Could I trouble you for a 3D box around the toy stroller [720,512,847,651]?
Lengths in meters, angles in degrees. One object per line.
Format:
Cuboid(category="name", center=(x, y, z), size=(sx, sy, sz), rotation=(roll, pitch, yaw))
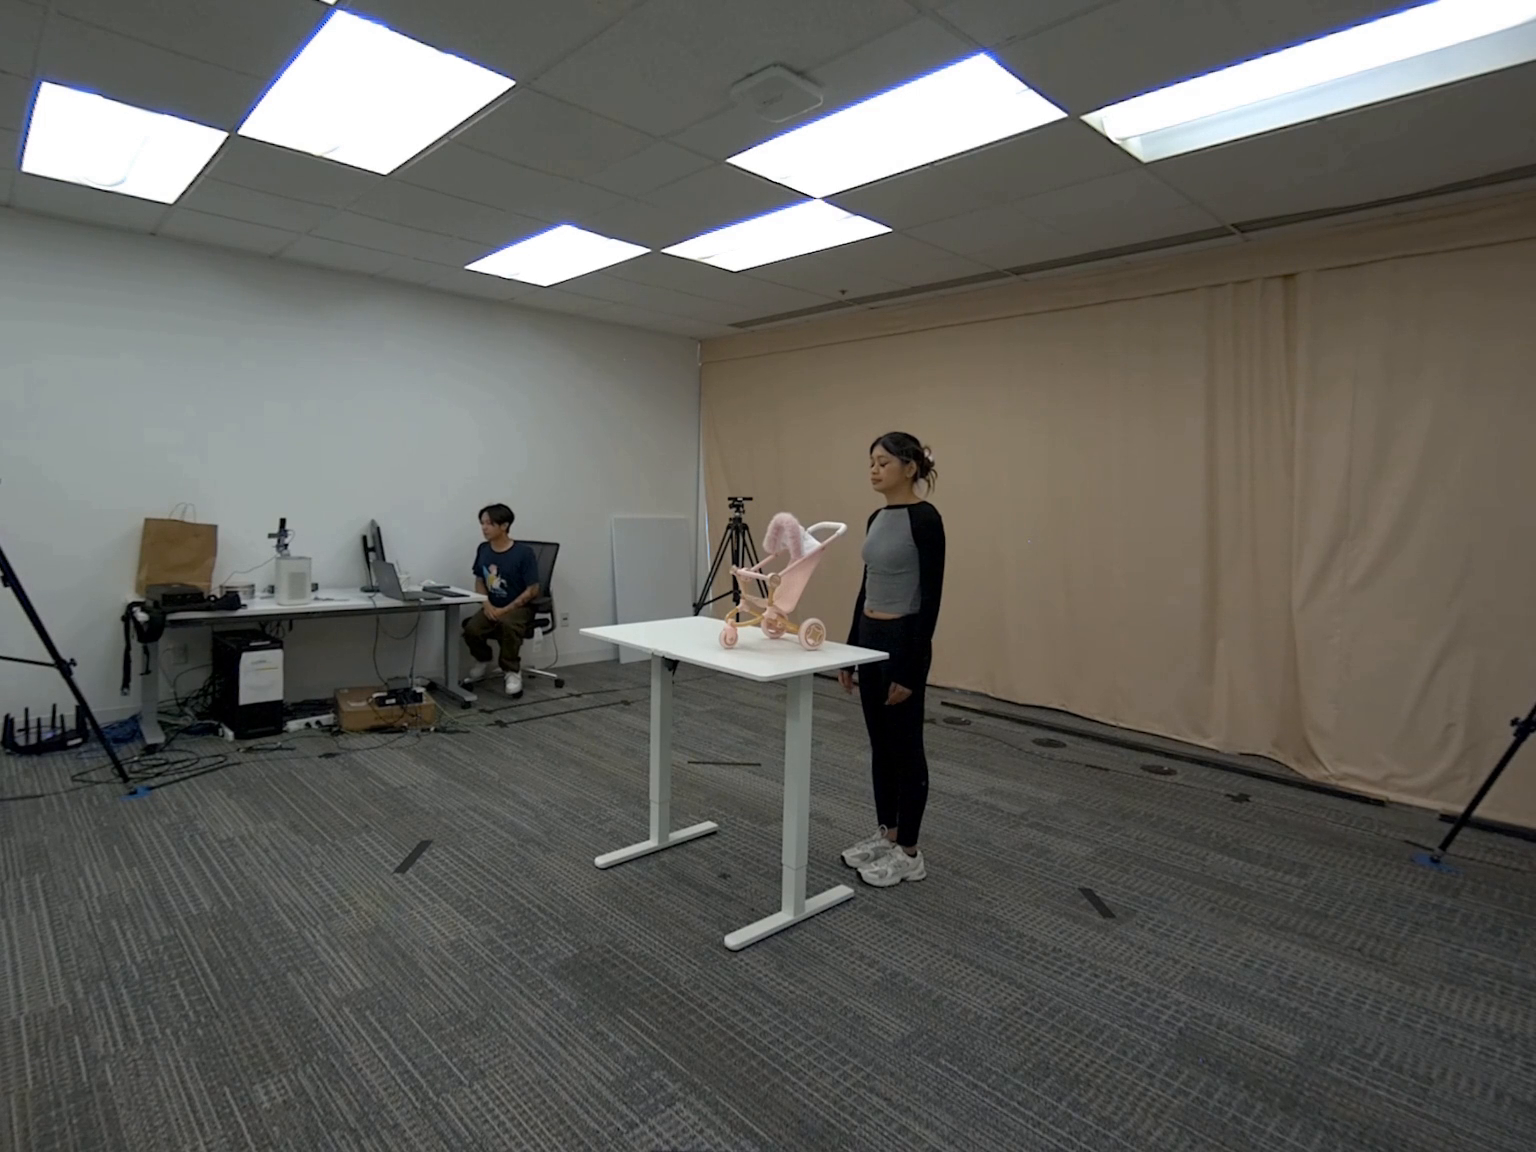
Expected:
Cuboid(category="toy stroller", center=(0.033, 0.020, 2.930), size=(0.334, 0.535, 0.287), rotation=(18, -3, -25))
